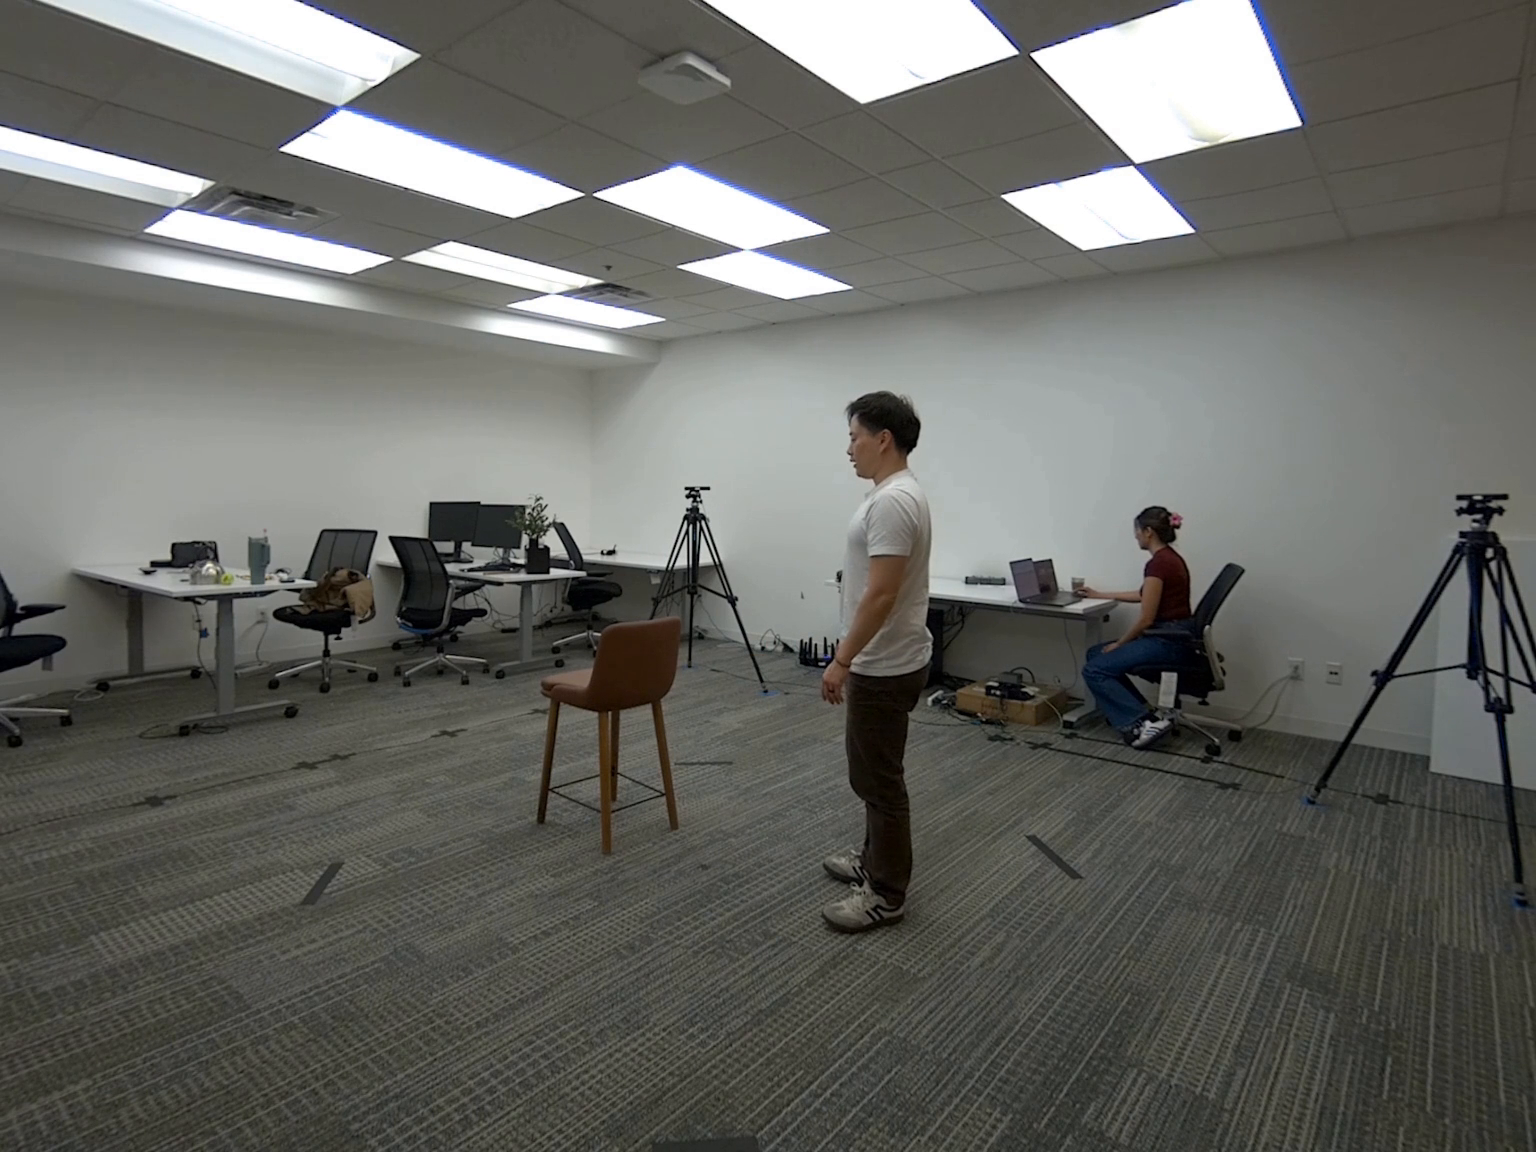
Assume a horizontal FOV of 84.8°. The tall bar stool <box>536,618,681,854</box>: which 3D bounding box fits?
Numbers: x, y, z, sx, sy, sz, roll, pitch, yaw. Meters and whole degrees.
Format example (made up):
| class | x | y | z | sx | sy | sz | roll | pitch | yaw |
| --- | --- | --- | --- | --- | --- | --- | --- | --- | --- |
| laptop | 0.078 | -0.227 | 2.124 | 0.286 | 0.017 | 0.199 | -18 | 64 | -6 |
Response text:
| class | x | y | z | sx | sy | sz | roll | pitch | yaw |
| --- | --- | --- | --- | --- | --- | --- | --- | --- | --- |
| tall bar stool | -0.658 | 0.591 | 3.473 | 0.484 | 0.886 | 0.442 | 6 | 5 | 43 |
